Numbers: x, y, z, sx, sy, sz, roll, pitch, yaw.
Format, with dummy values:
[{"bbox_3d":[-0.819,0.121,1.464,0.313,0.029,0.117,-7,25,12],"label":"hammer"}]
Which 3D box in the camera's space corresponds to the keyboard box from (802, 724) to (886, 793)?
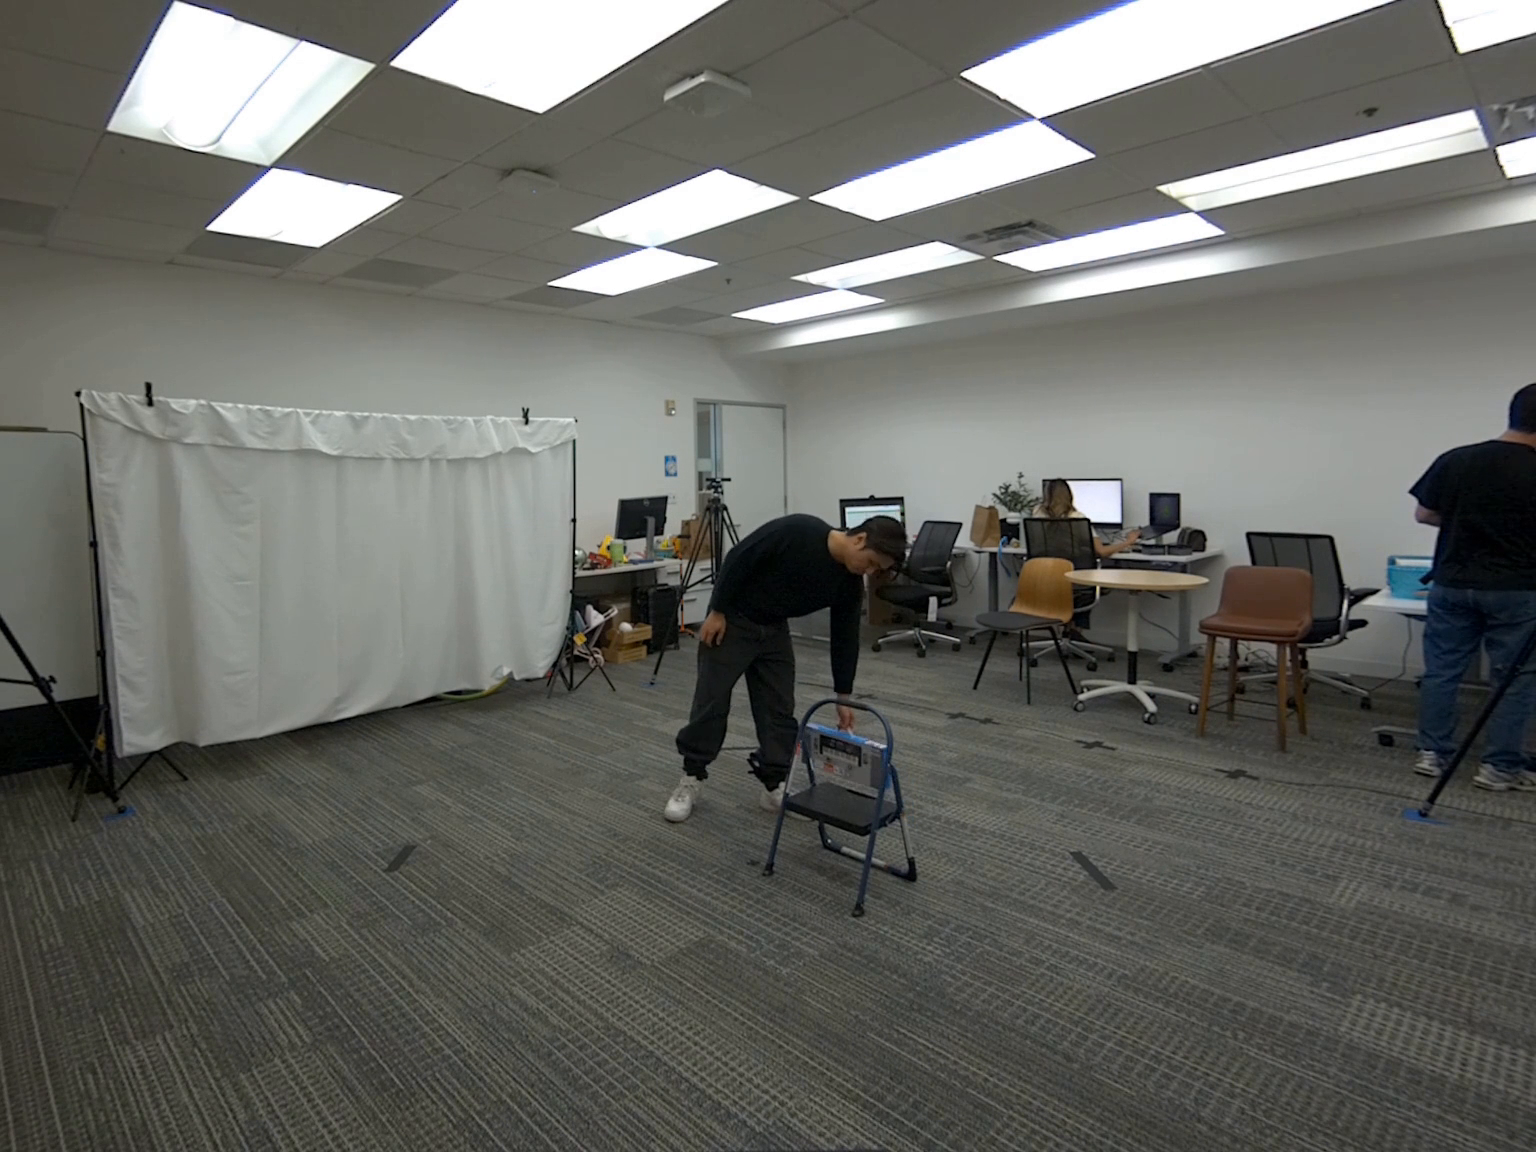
[{"bbox_3d":[0.323,0.753,3.582,0.057,0.175,0.451,-5,9,-42],"label":"keyboard box"}]
